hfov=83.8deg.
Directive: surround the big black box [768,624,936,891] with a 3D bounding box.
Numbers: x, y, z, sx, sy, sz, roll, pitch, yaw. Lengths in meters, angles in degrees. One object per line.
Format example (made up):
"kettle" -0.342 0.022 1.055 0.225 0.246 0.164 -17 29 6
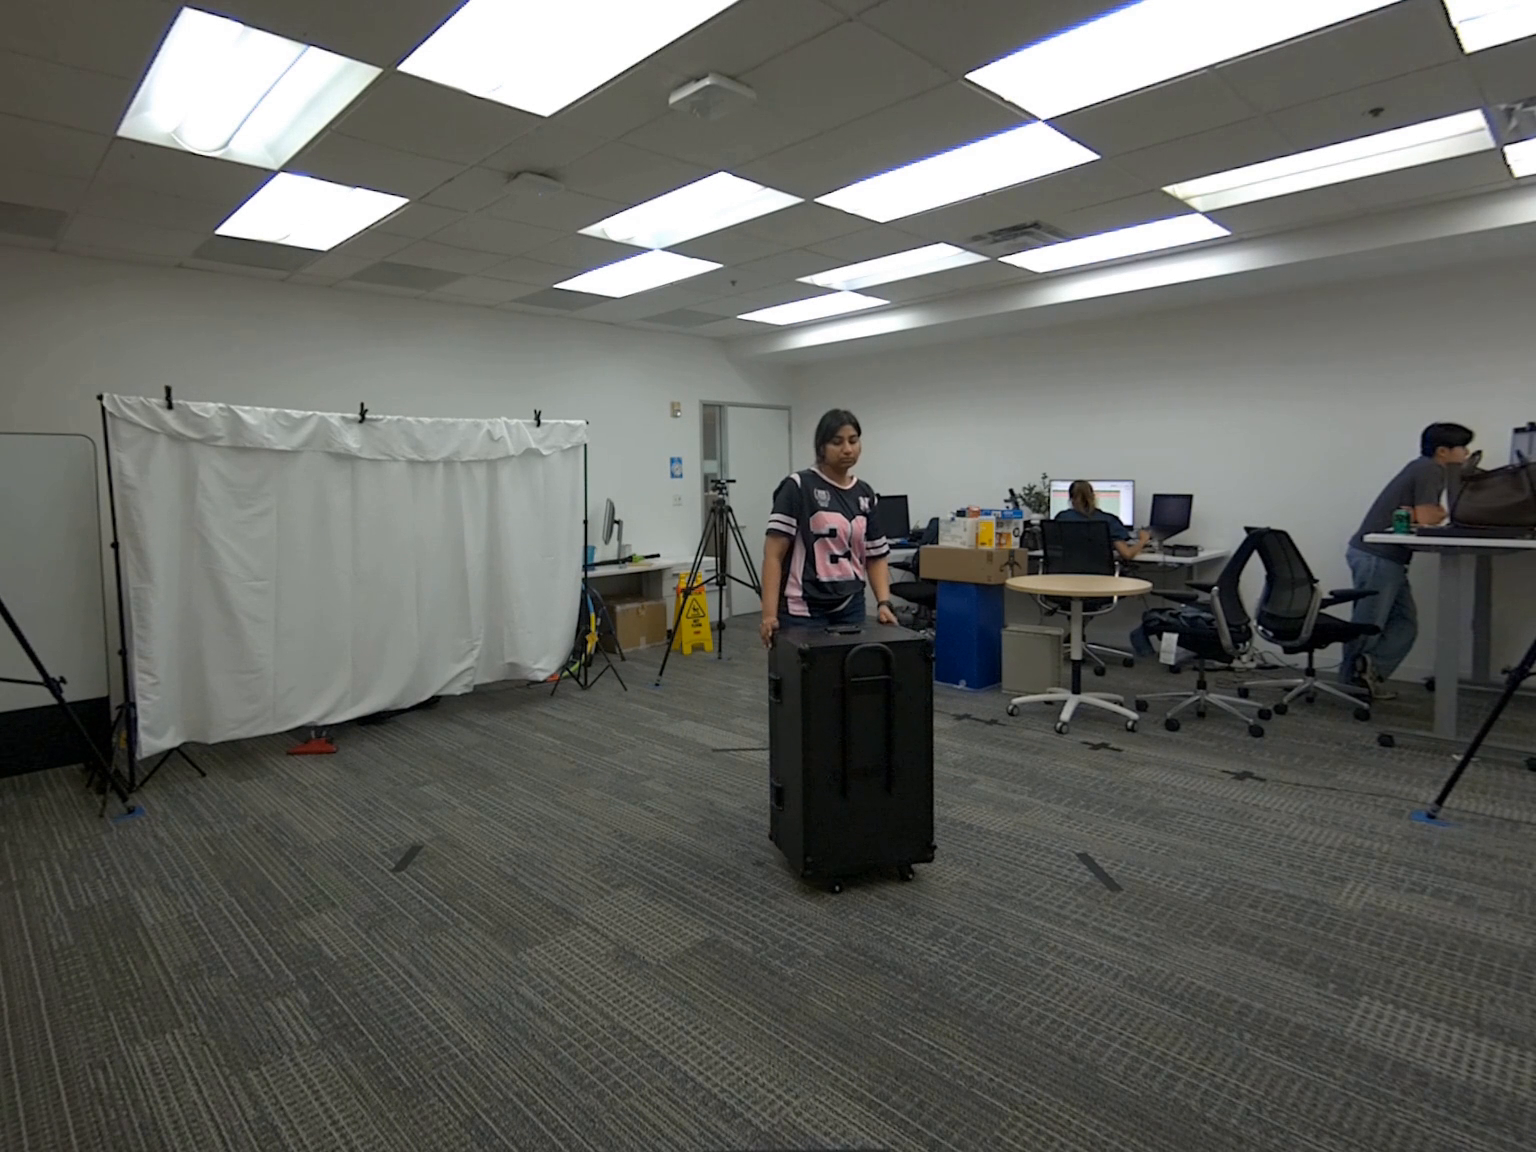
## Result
"big black box" 0.290 0.625 3.024 0.516 0.865 0.392 -3 4 -16
